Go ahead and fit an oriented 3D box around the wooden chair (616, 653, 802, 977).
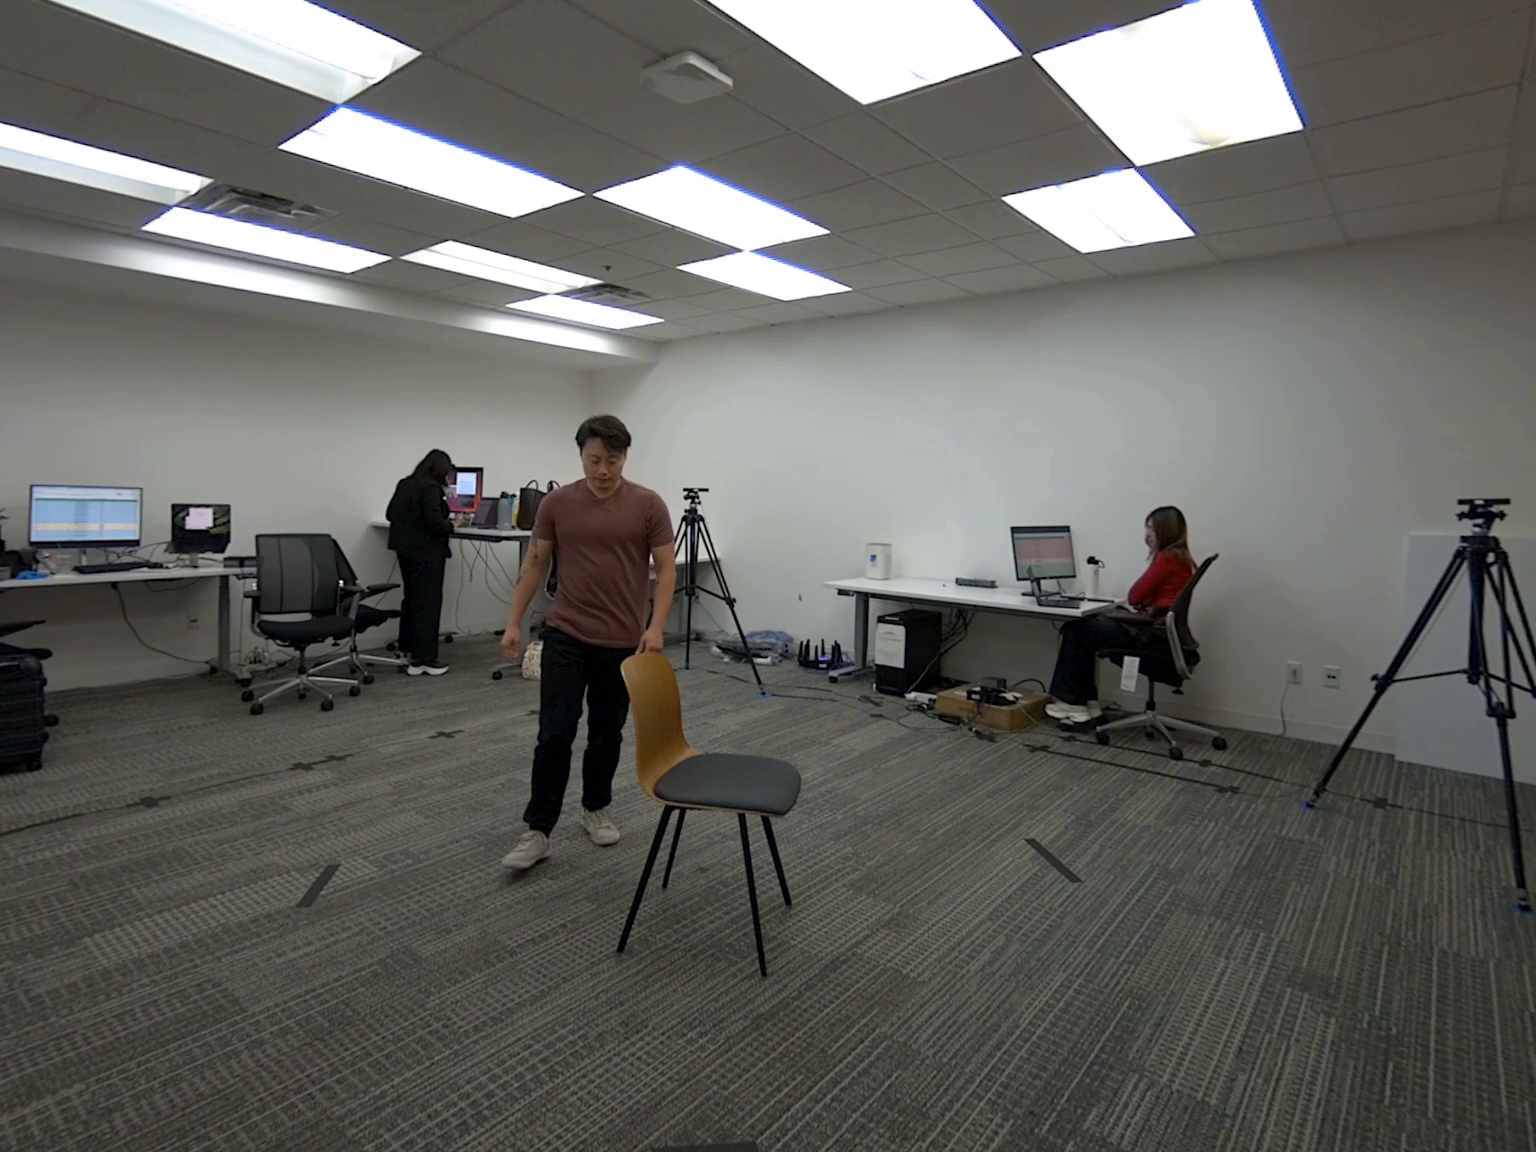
[{"bbox_3d":[-0.173,0.686,2.669,0.531,0.876,0.472,-2,2,14],"label":"wooden chair"}]
